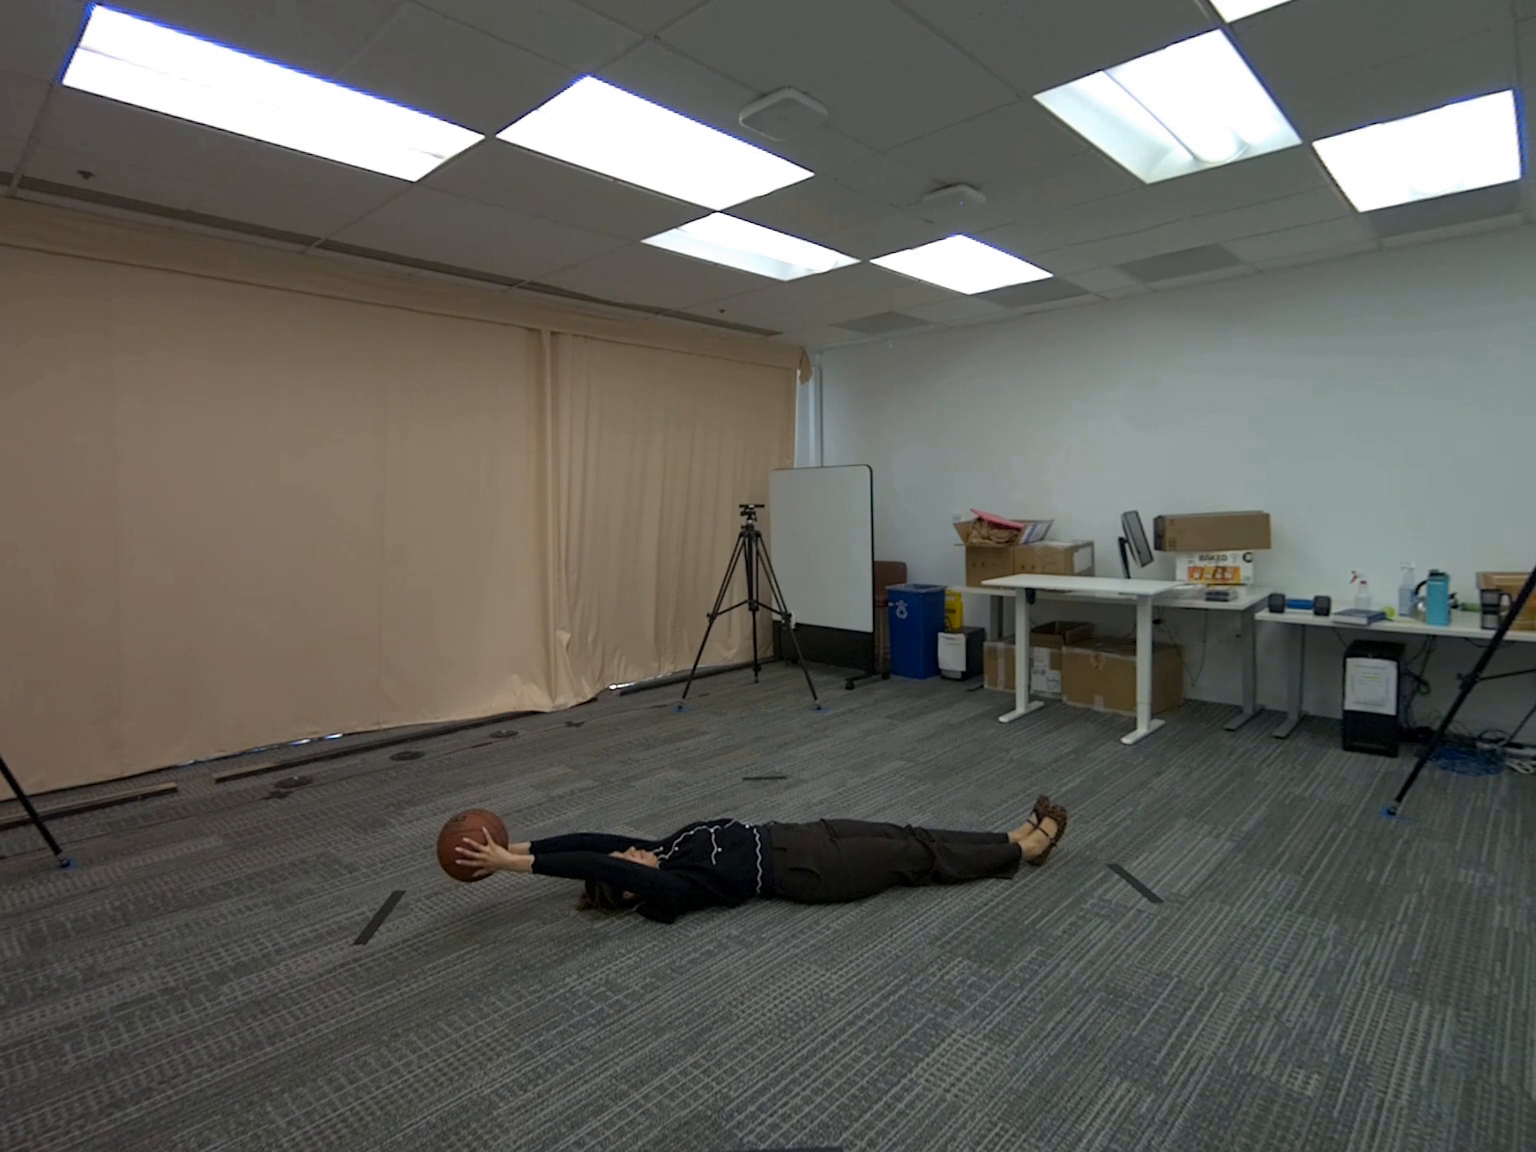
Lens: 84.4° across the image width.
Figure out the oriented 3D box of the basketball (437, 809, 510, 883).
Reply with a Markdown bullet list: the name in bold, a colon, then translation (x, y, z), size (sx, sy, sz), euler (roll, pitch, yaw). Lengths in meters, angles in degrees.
- **basketball**: translation (-1.002, 0.913, 2.848), size (0.236, 0.235, 0.237), euler (-1, 4, -2)
